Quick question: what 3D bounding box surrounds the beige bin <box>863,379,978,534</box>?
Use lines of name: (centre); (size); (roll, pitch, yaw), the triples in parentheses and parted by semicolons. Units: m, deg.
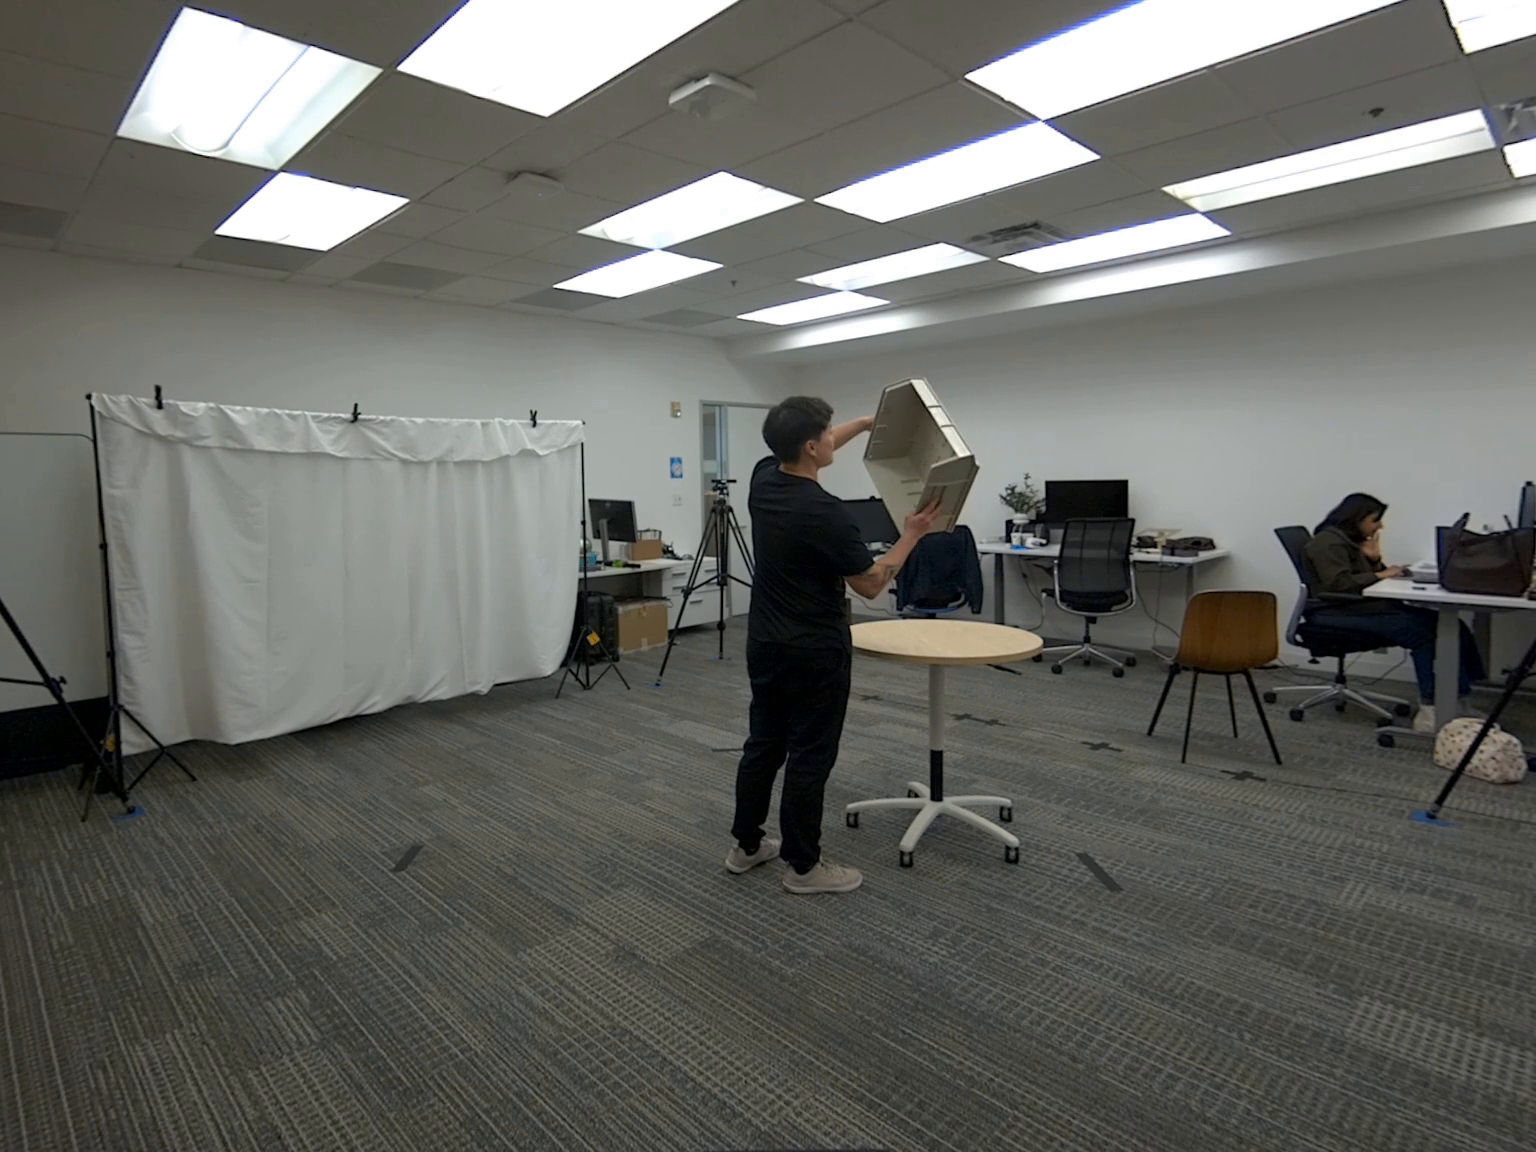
beige bin: (0.515, -0.403, 2.949); (0.186, 0.437, 0.369); (-6, -40, -16)
